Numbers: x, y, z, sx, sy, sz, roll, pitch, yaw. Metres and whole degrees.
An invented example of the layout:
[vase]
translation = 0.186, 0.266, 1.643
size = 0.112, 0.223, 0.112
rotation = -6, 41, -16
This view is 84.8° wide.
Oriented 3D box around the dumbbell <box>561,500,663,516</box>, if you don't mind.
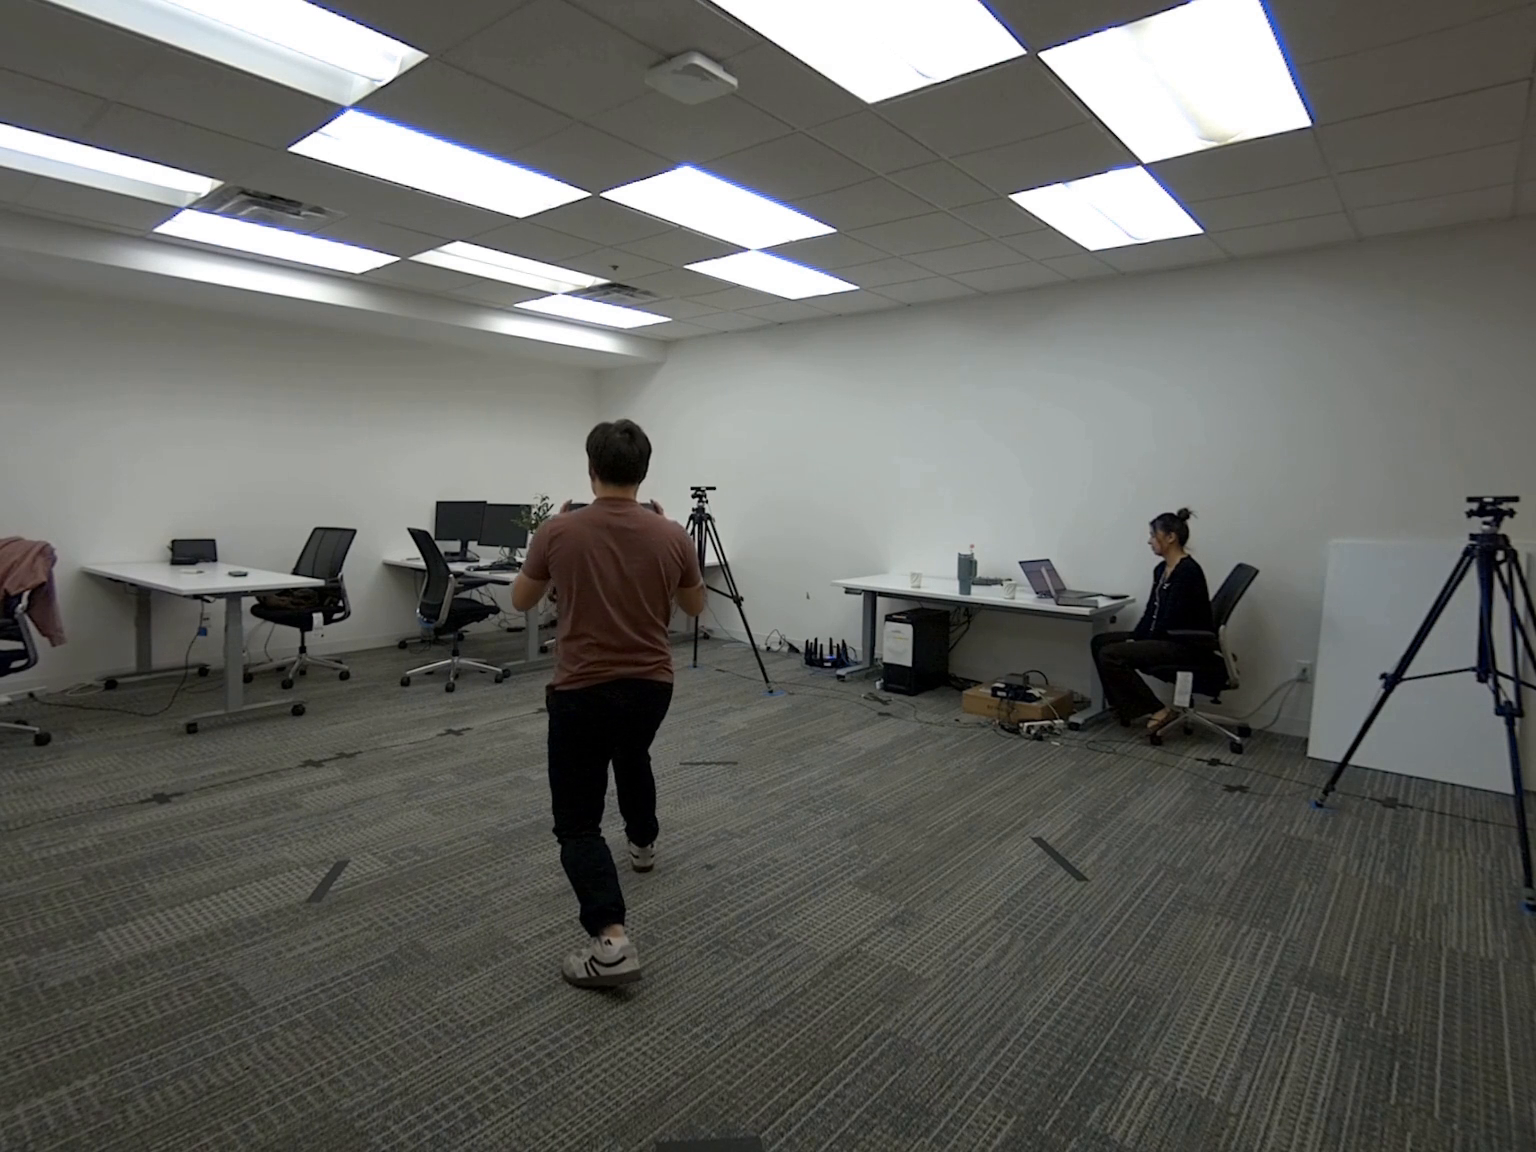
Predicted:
[dumbbell]
translation = -0.523, -0.165, 2.725
size = 0.294, 0.107, 0.124
rotation = 2, 13, 0
